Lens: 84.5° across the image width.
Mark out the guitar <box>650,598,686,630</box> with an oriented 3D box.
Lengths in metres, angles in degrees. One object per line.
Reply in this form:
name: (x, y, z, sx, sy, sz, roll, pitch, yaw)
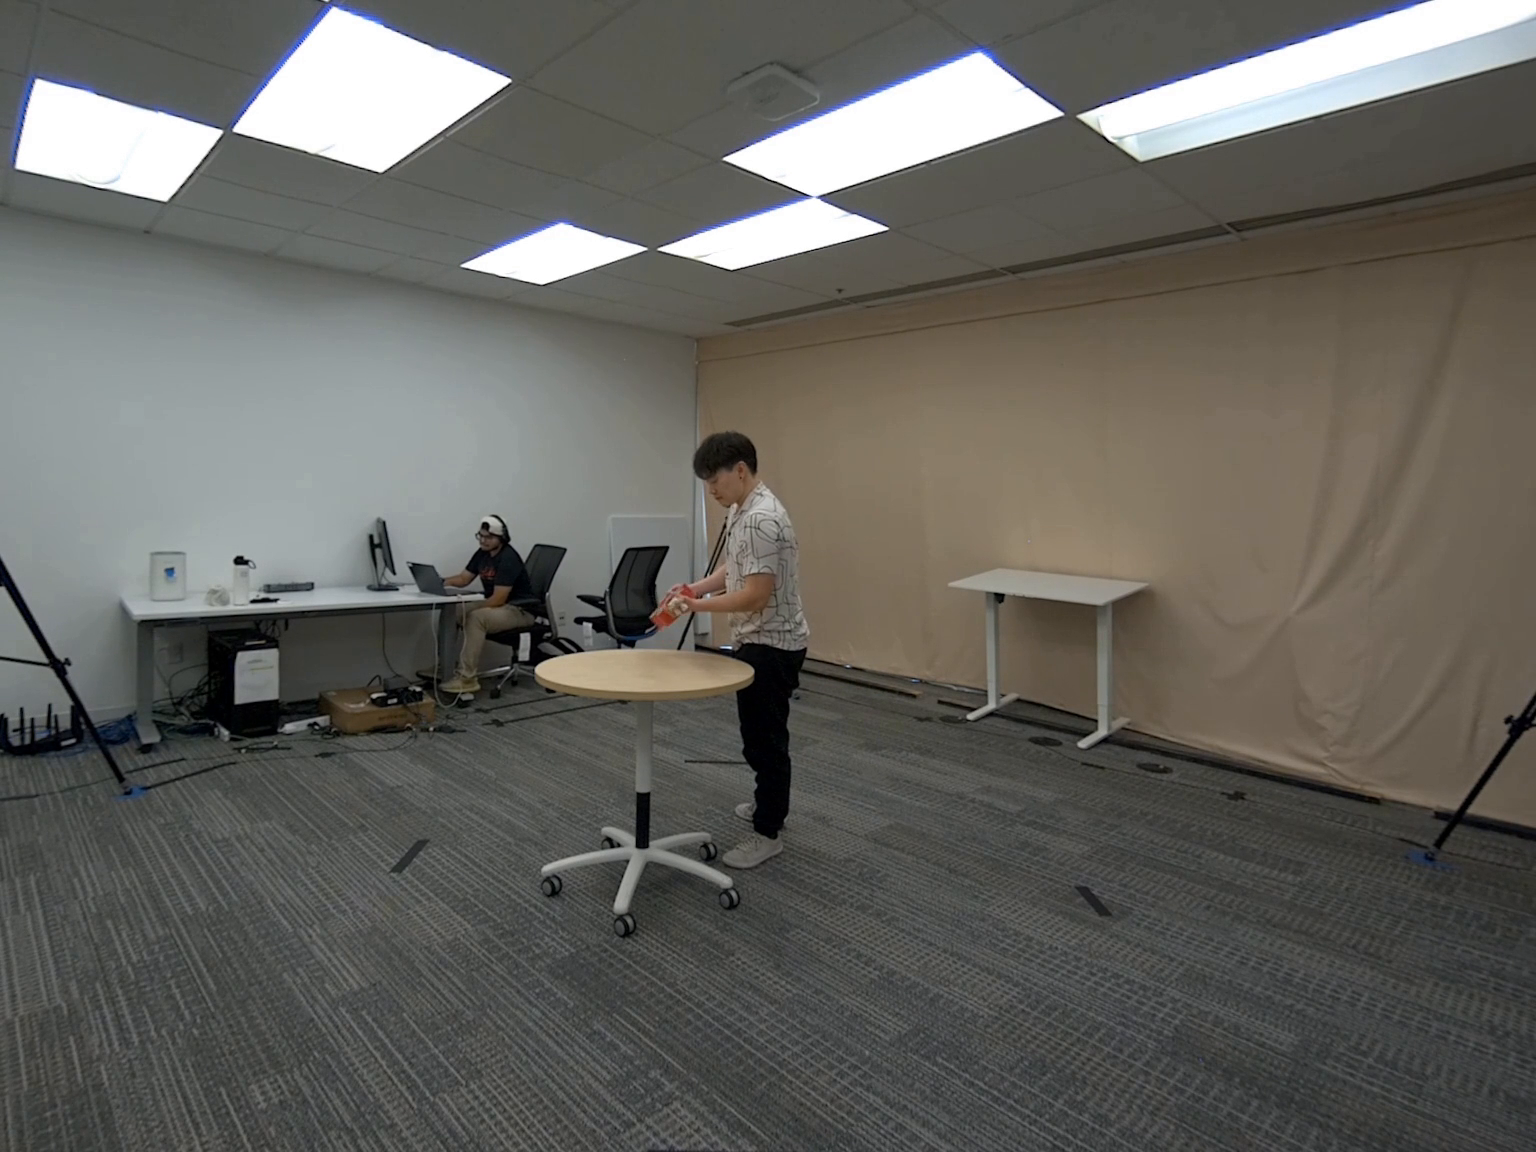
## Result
guitar: (-0.362, 0.132, 3.068, 0.070, 0.193, 0.502, 45, 0, -9)
